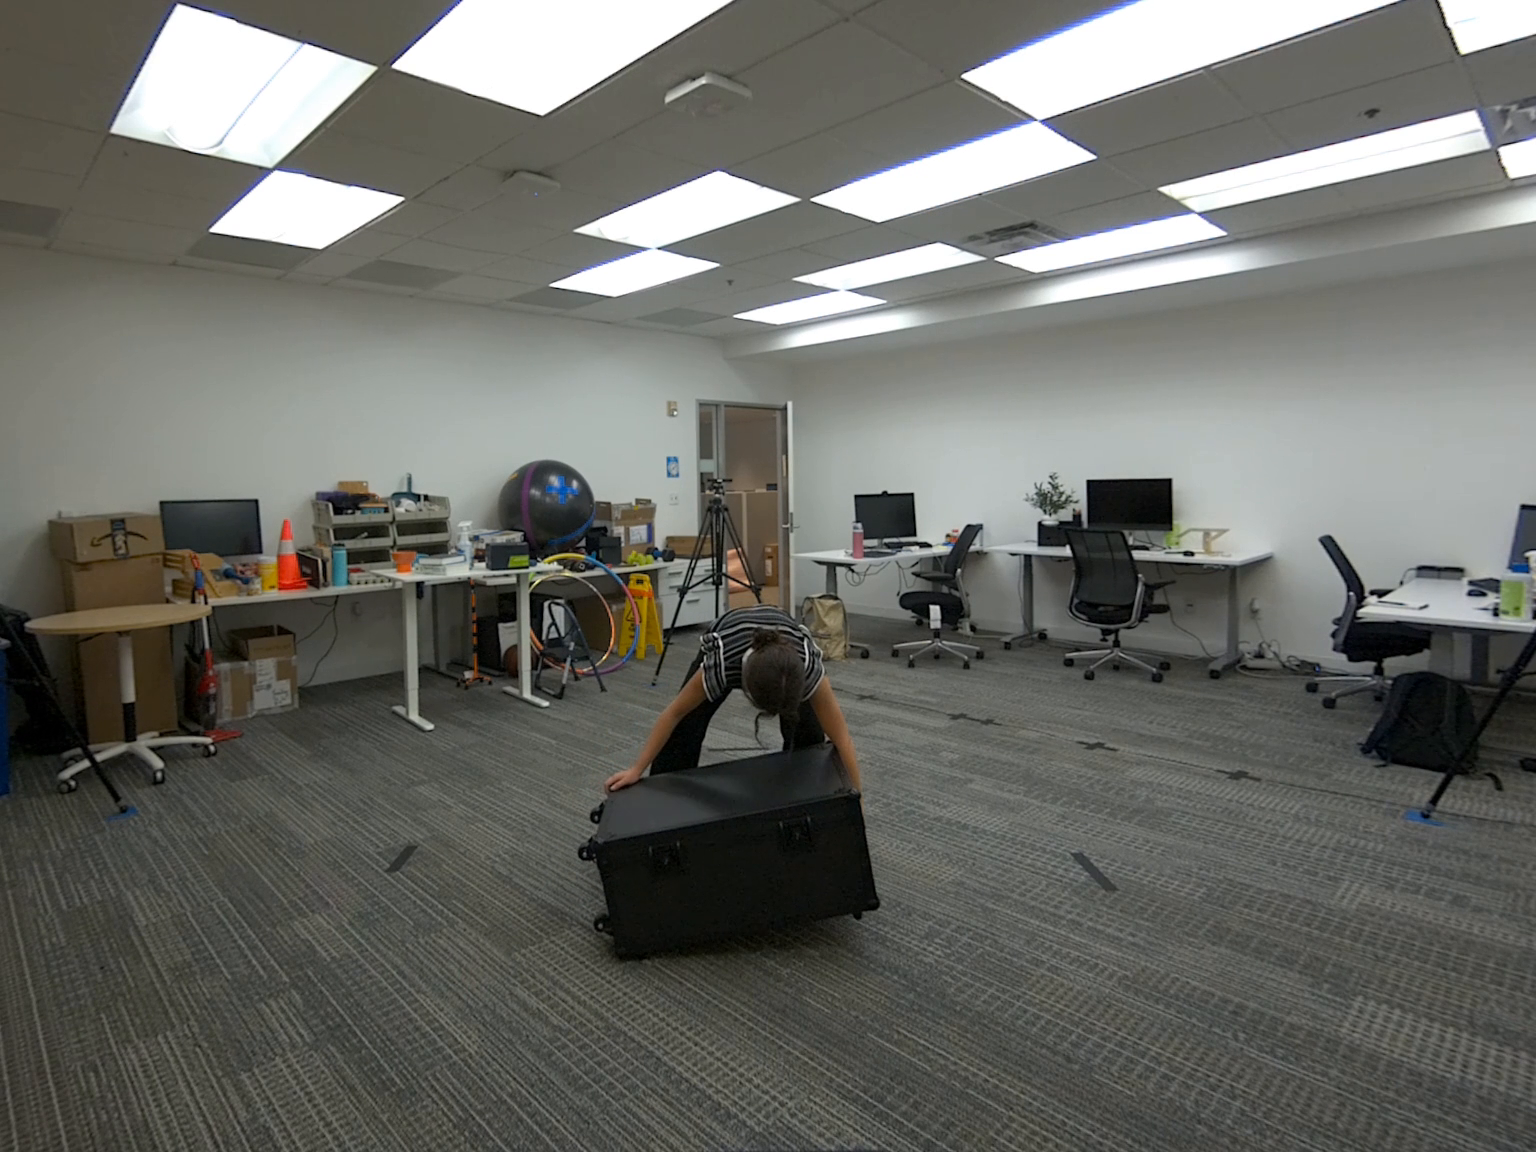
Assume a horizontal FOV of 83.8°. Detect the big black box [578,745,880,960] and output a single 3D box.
[{"bbox_3d":[-0.134,0.860,2.697,0.862,0.394,0.524,-9,6,0],"label":"big black box"}]
